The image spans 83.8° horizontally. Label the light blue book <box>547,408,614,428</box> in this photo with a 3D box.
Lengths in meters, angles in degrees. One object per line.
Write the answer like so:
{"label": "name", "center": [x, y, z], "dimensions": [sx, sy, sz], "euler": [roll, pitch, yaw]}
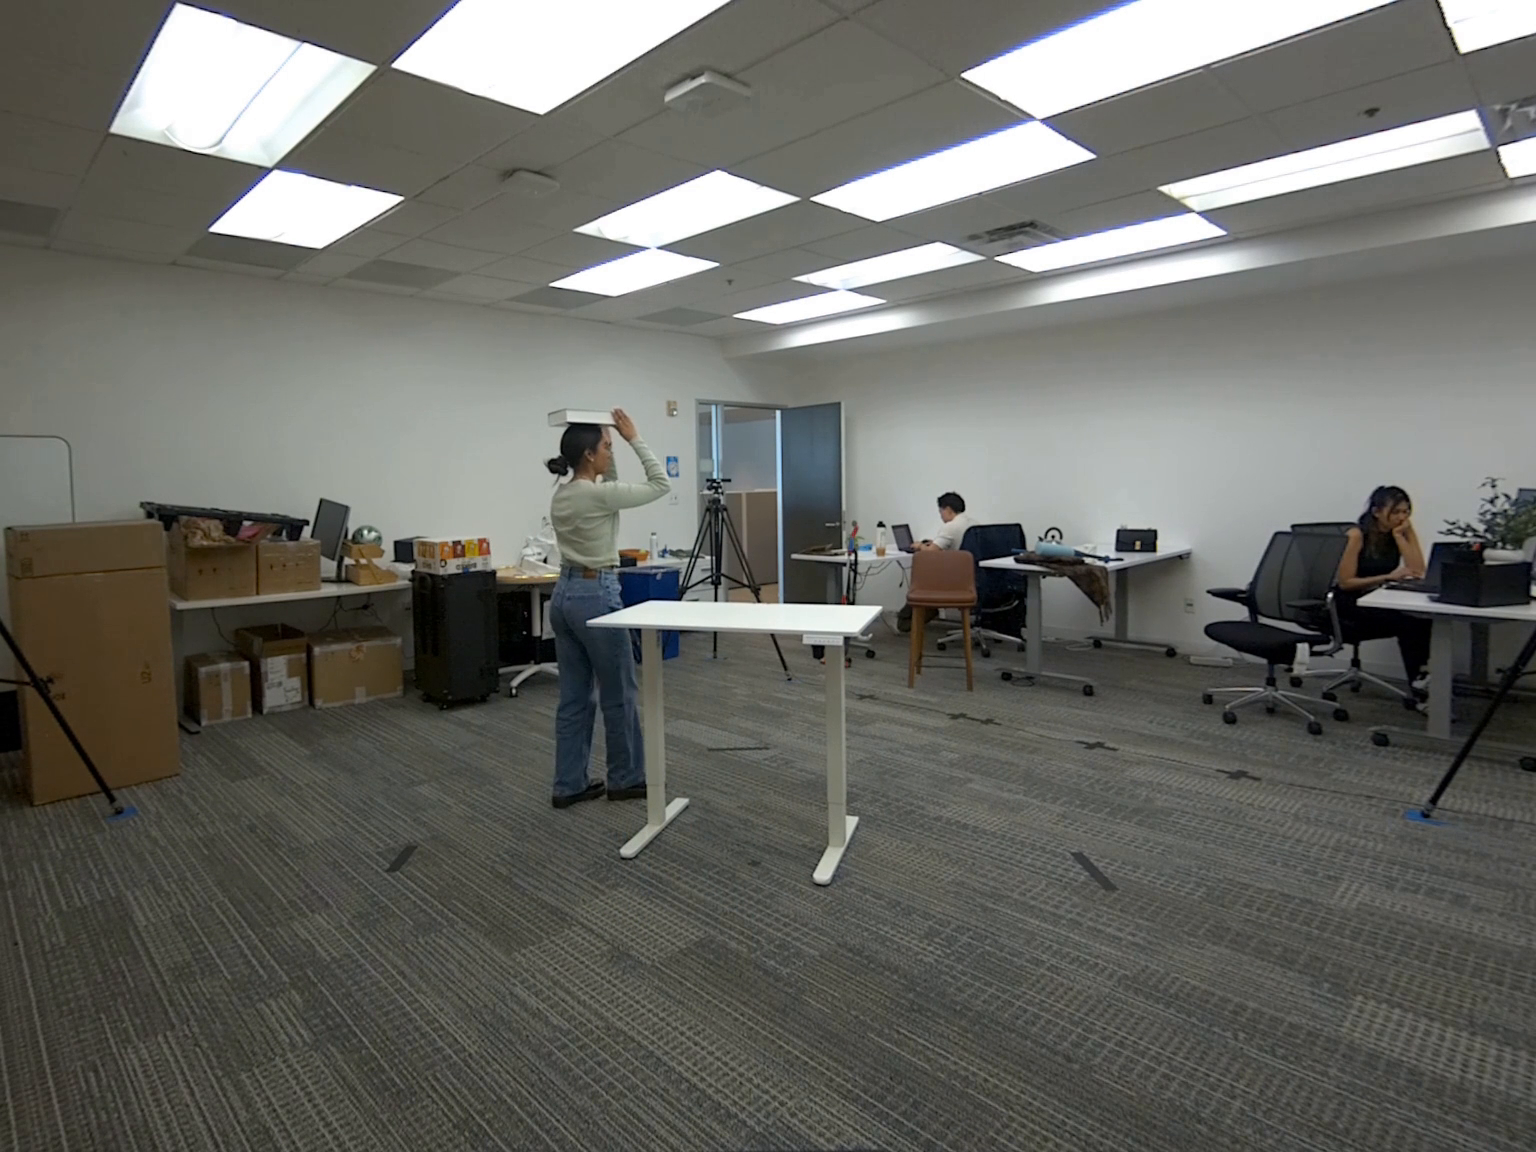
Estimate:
{"label": "light blue book", "center": [-0.808, -0.679, 3.691], "dimensions": [0.254, 0.059, 0.197], "euler": [-7, 6, -38]}
